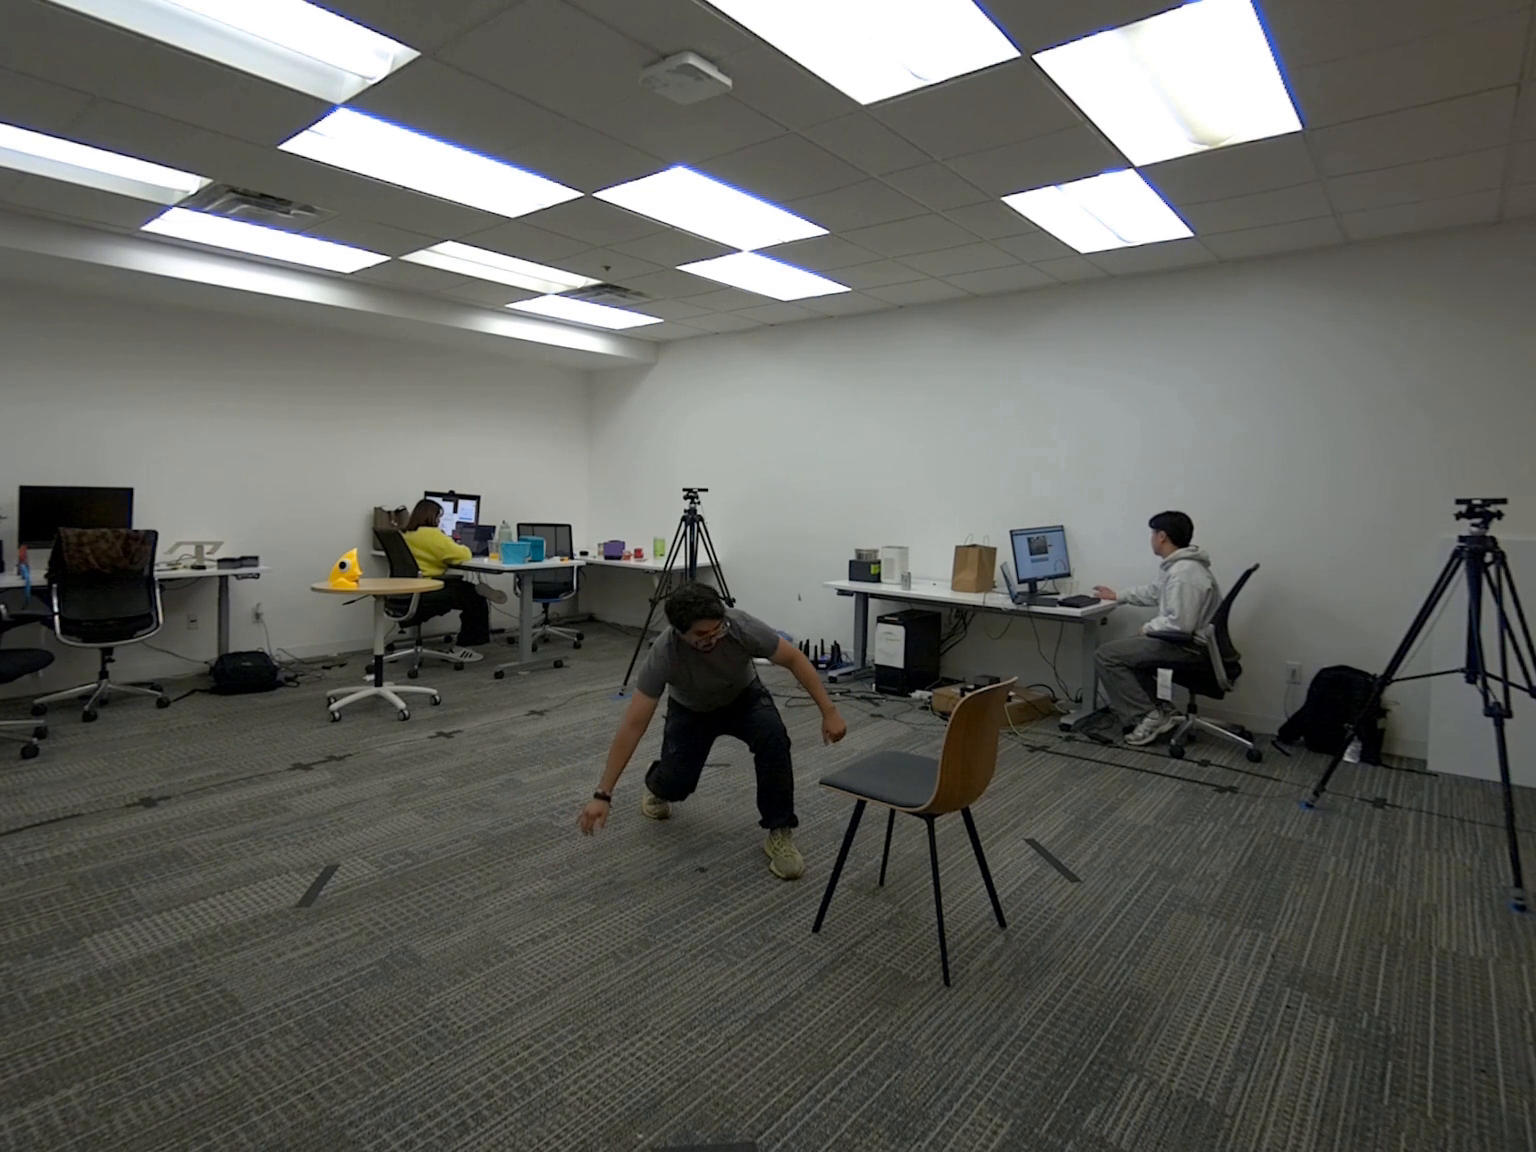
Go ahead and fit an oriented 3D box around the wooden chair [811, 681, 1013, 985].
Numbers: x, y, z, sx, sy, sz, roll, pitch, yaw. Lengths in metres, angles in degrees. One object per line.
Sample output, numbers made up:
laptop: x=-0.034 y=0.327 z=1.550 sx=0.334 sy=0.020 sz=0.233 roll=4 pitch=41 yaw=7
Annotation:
wooden chair: x=0.453 y=0.699 z=2.689 sx=0.542 sy=0.873 sz=0.464 roll=10 pitch=8 yaw=37
